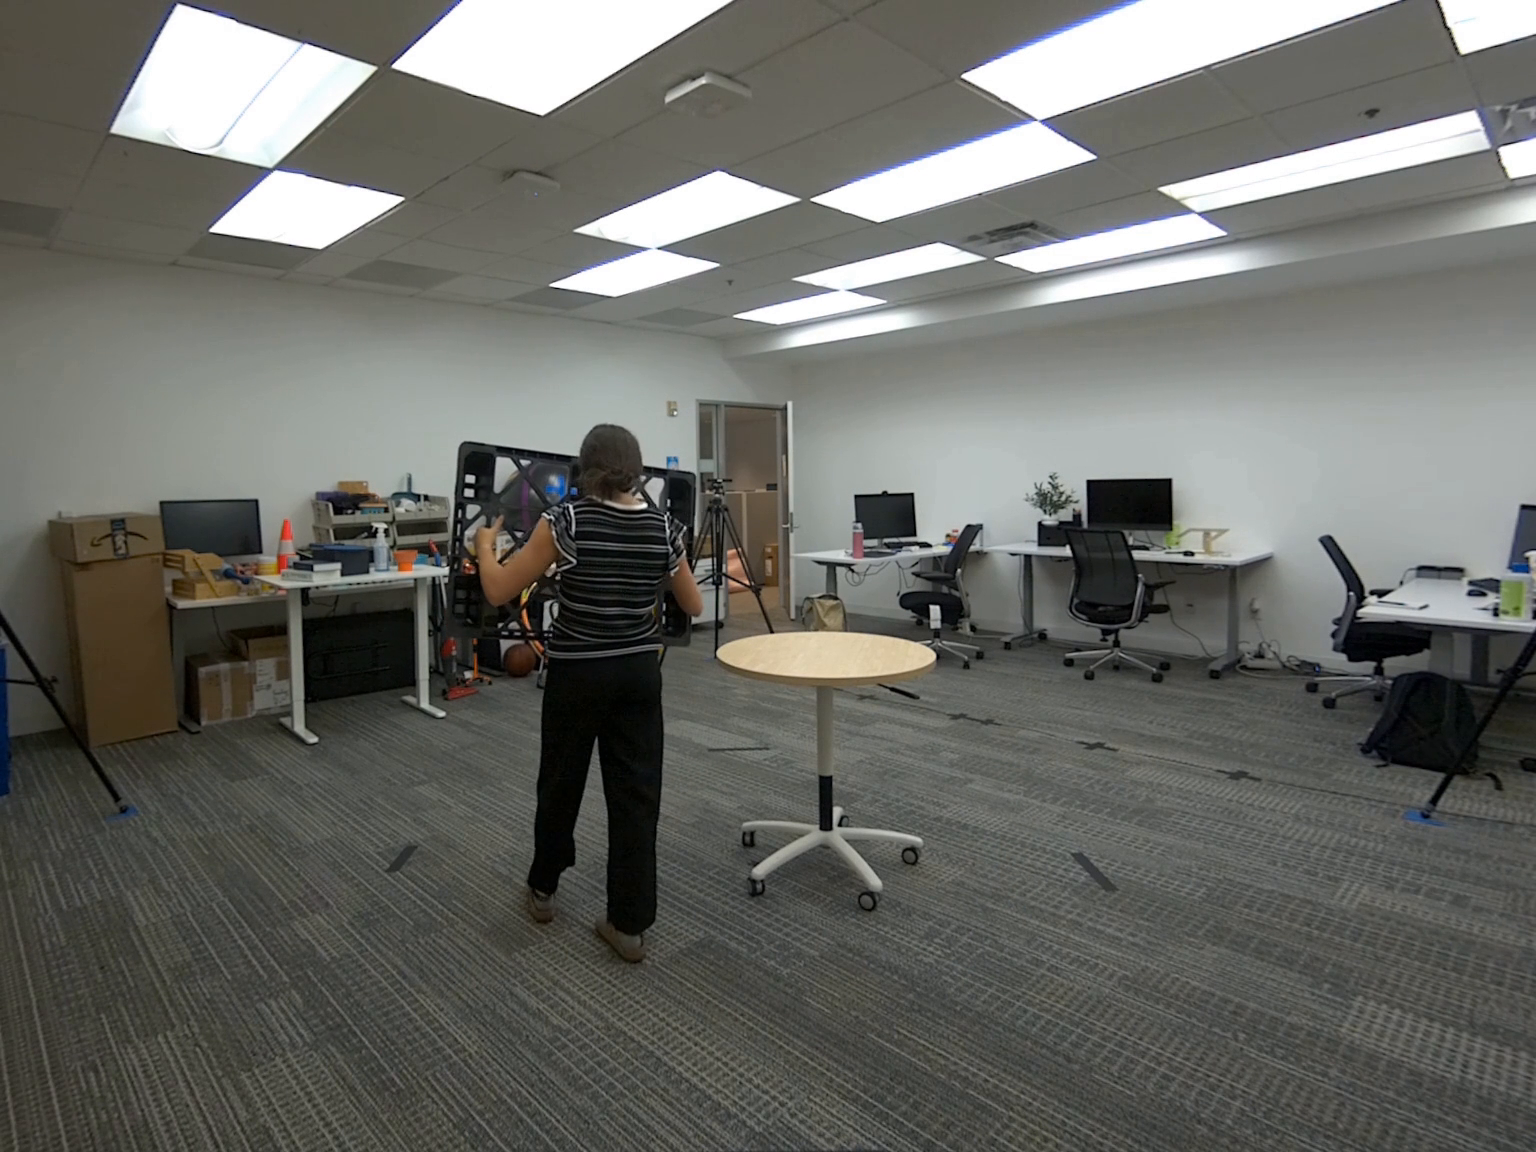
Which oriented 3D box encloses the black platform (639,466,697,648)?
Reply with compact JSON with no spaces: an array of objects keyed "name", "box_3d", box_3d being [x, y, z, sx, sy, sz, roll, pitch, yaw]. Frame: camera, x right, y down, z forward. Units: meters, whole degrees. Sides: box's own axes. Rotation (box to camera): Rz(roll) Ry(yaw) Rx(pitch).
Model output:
[{"name":"black platform","box_3d":[-0.626,-0.088,2.800,0.786,0.610,0.146,5,-9,-25]}]
